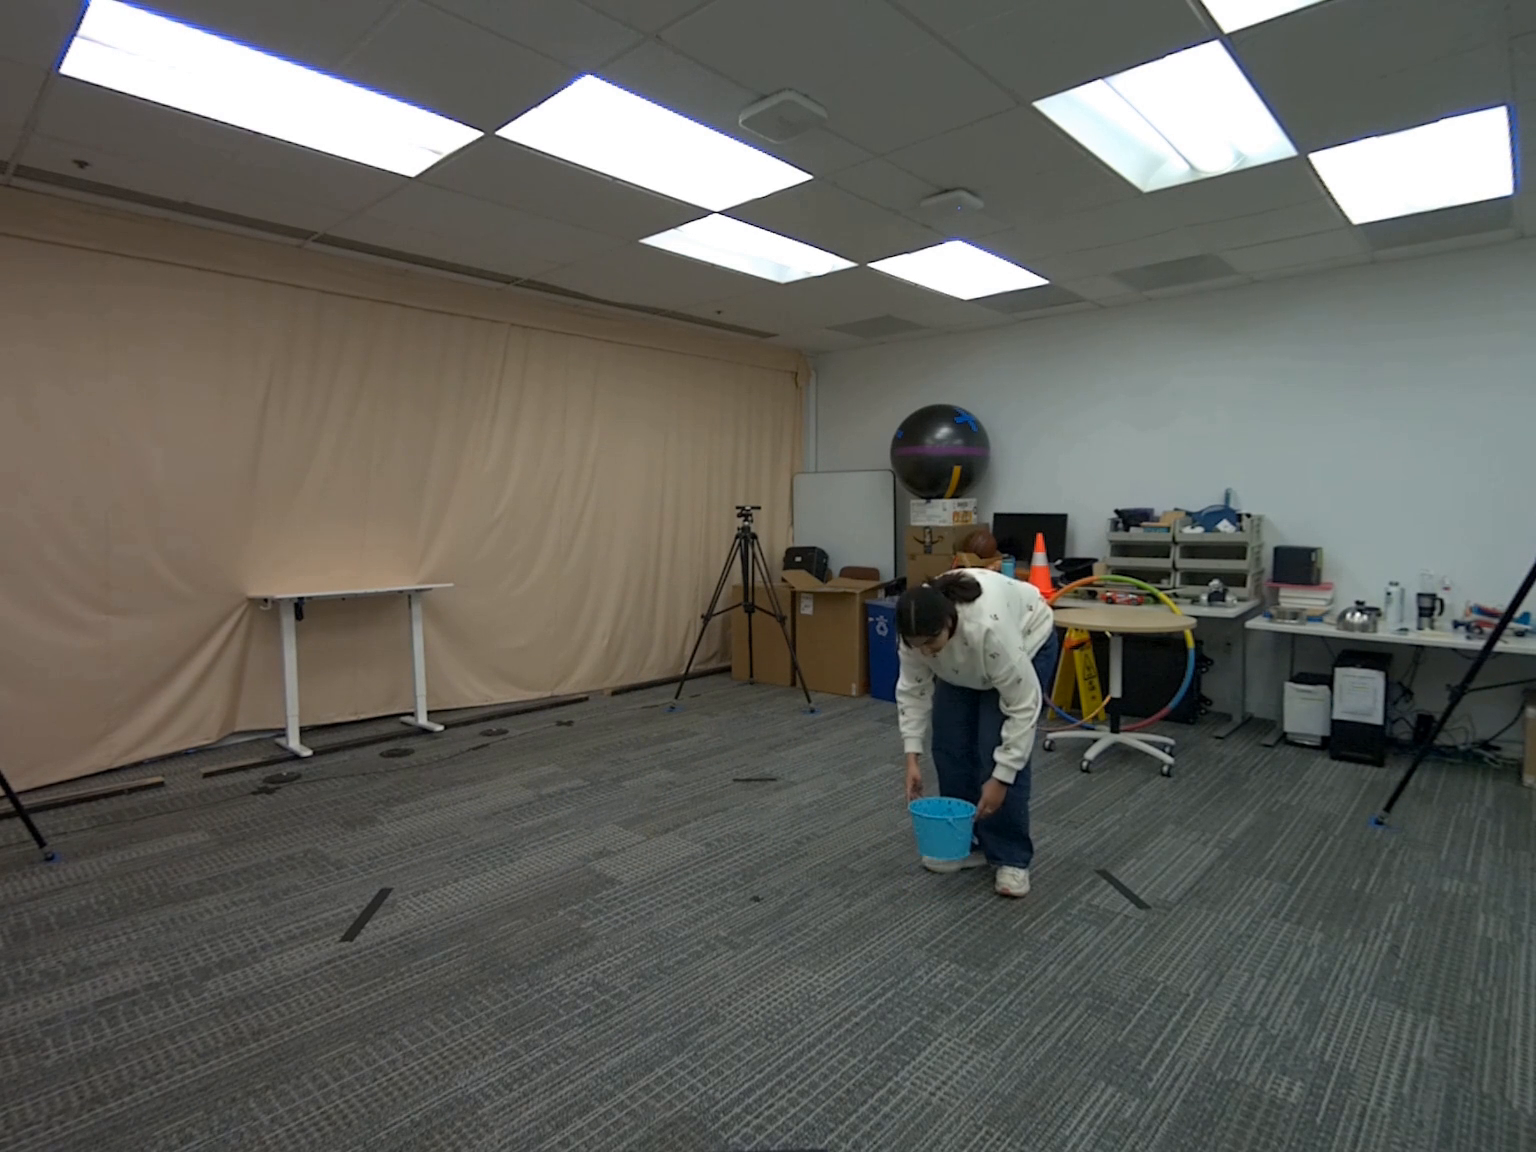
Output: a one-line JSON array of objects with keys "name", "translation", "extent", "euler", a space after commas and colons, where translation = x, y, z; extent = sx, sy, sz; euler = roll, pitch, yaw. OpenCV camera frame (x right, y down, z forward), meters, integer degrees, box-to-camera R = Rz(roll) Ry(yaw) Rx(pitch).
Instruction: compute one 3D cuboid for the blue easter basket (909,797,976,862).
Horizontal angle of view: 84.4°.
[{"name": "blue easter basket", "translation": [0.626, 0.886, 2.962], "extent": [0.243, 0.155, 0.244], "euler": [-5, 4, -2]}]
